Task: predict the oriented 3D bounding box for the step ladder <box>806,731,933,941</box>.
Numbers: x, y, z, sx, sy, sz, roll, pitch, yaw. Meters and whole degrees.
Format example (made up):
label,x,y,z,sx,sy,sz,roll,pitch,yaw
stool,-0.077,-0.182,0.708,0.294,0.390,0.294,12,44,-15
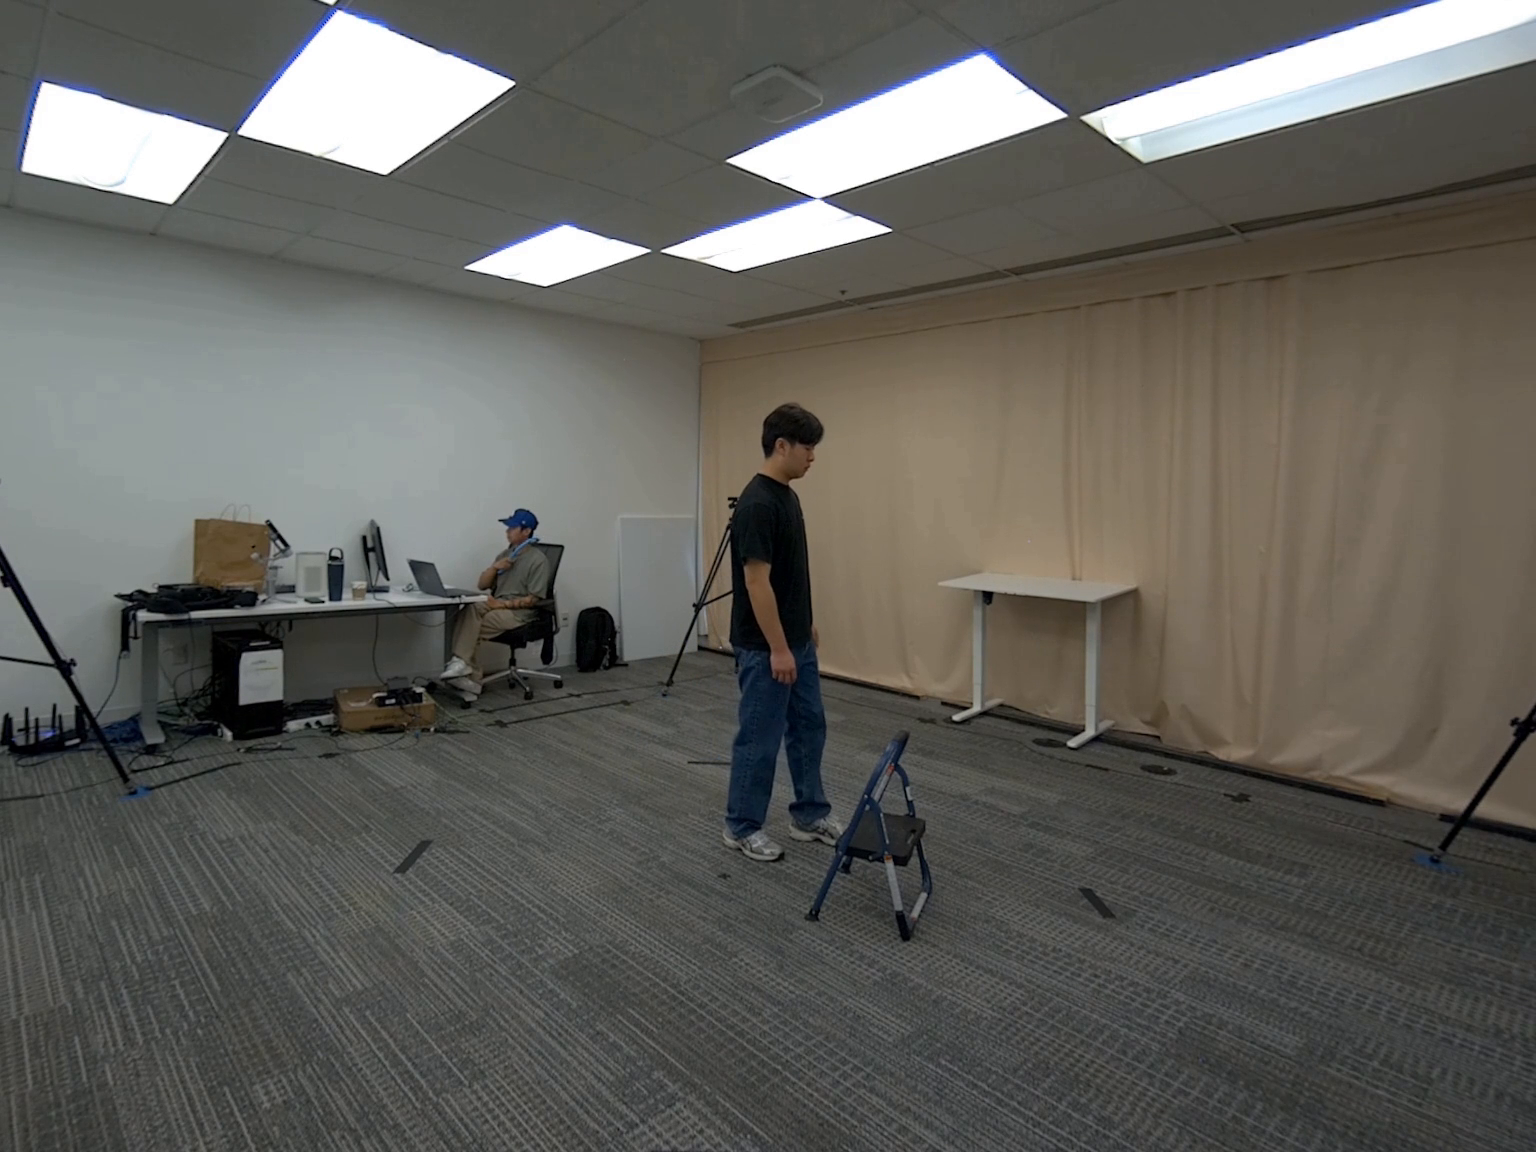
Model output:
label,x,y,z,sx,sy,sz,roll,pitch,yaw
step ladder,0.366,0.835,2.900,0.355,0.604,0.424,3,4,21
